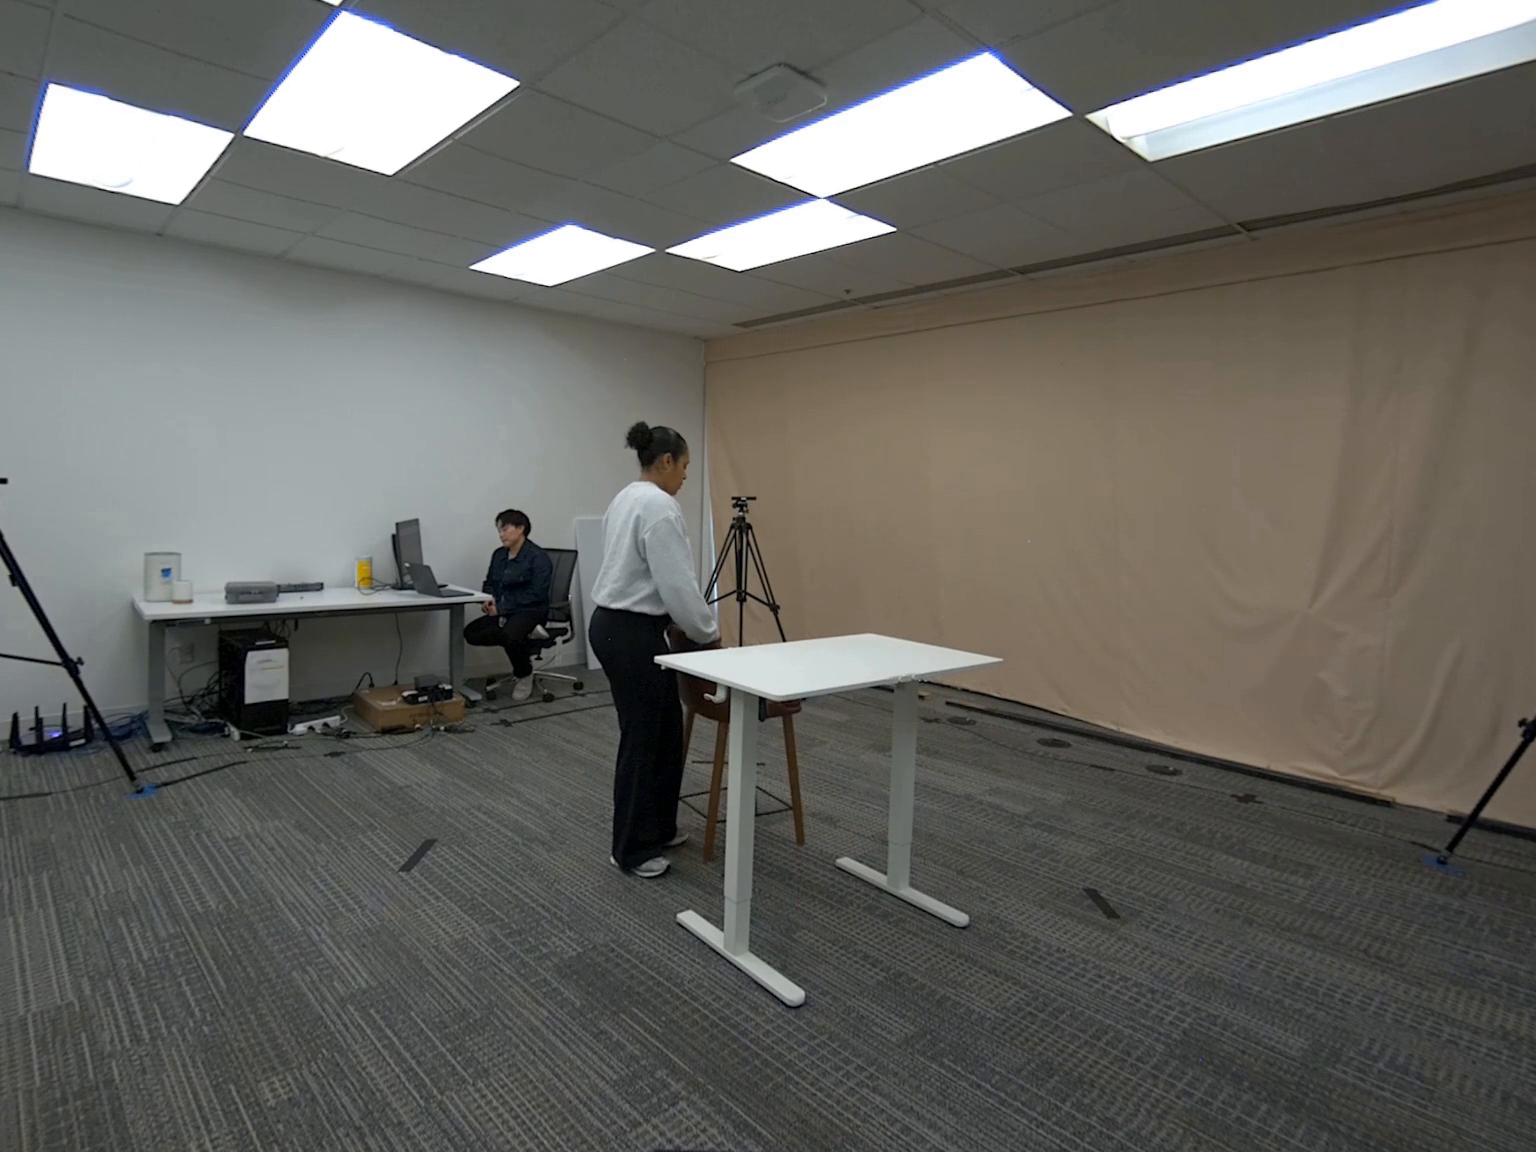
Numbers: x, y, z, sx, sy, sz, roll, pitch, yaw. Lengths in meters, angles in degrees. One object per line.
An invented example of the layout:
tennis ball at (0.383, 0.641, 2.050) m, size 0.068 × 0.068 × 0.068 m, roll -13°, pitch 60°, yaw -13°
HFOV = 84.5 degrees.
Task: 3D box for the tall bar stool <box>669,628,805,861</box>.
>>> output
tall bar stool at (-0.146, 0.639, 3.454) m, size 0.458 × 0.887 × 0.467 m, roll -3°, pitch 4°, yaw -30°
